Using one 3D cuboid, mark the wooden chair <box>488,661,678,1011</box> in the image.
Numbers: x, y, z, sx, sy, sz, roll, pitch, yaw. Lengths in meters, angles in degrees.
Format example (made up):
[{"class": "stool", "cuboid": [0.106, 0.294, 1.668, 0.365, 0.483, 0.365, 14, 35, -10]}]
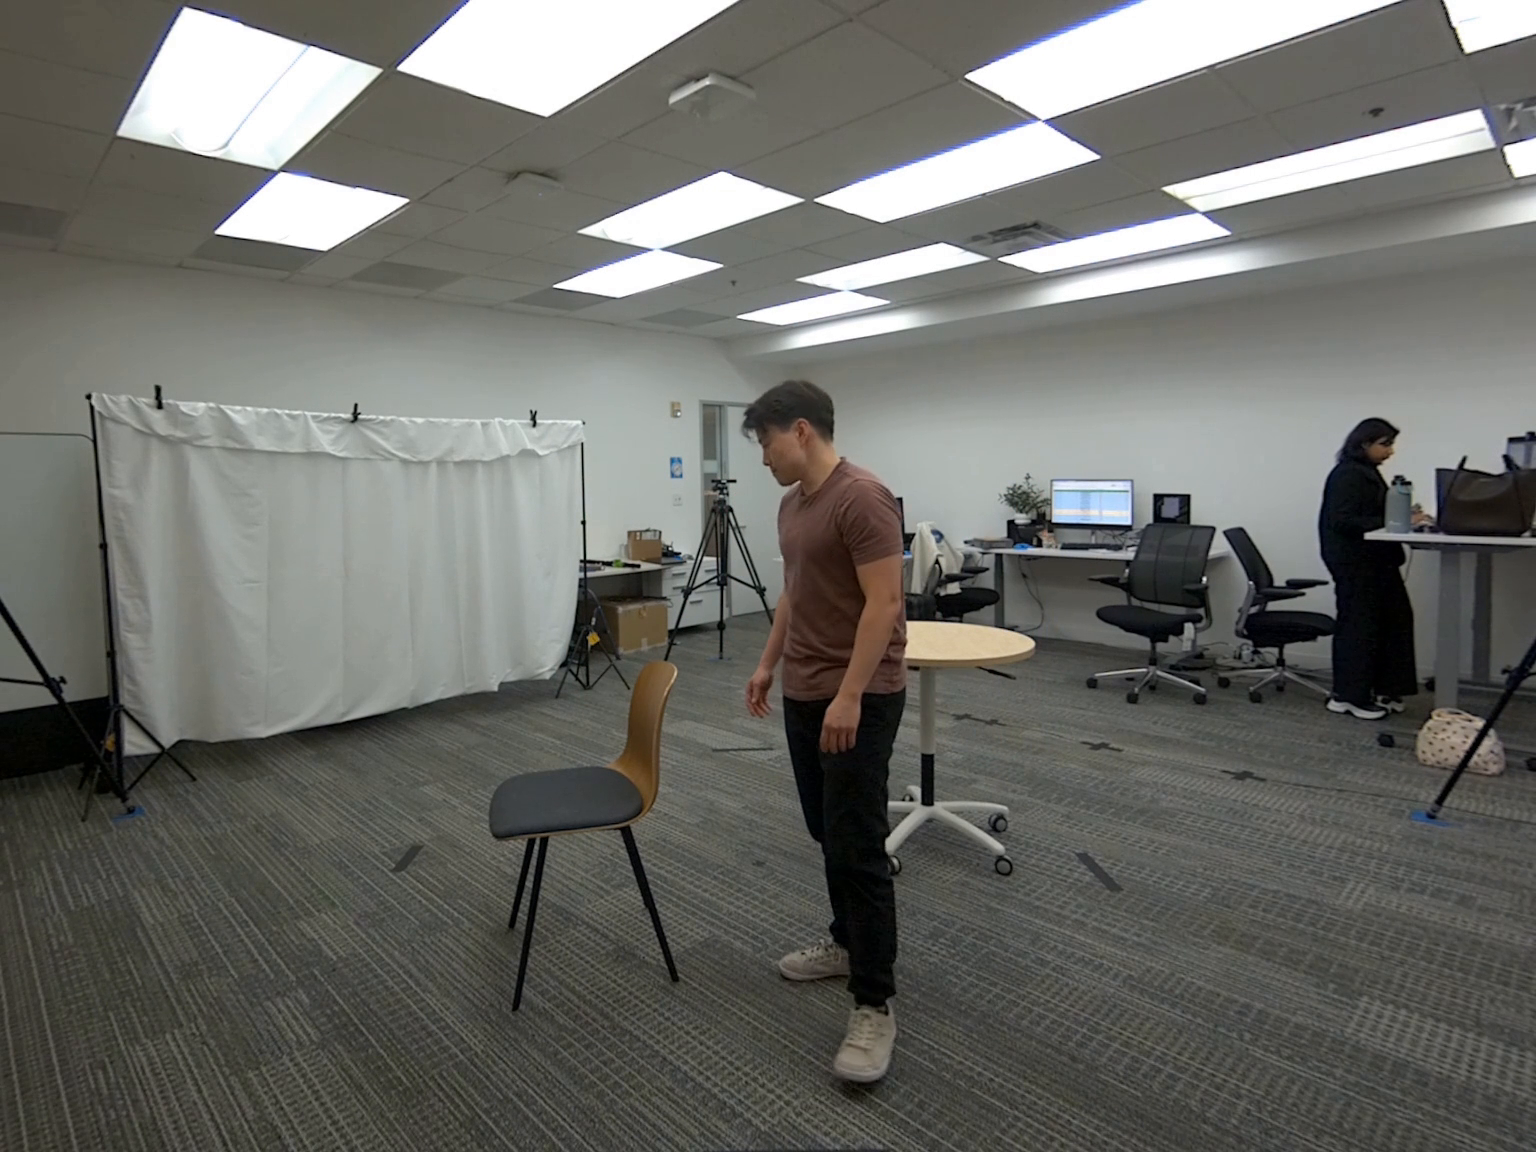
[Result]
[{"class": "wooden chair", "cuboid": [-0.547, 0.701, 2.512, 0.514, 0.875, 0.487, 1, 3, -18]}]
